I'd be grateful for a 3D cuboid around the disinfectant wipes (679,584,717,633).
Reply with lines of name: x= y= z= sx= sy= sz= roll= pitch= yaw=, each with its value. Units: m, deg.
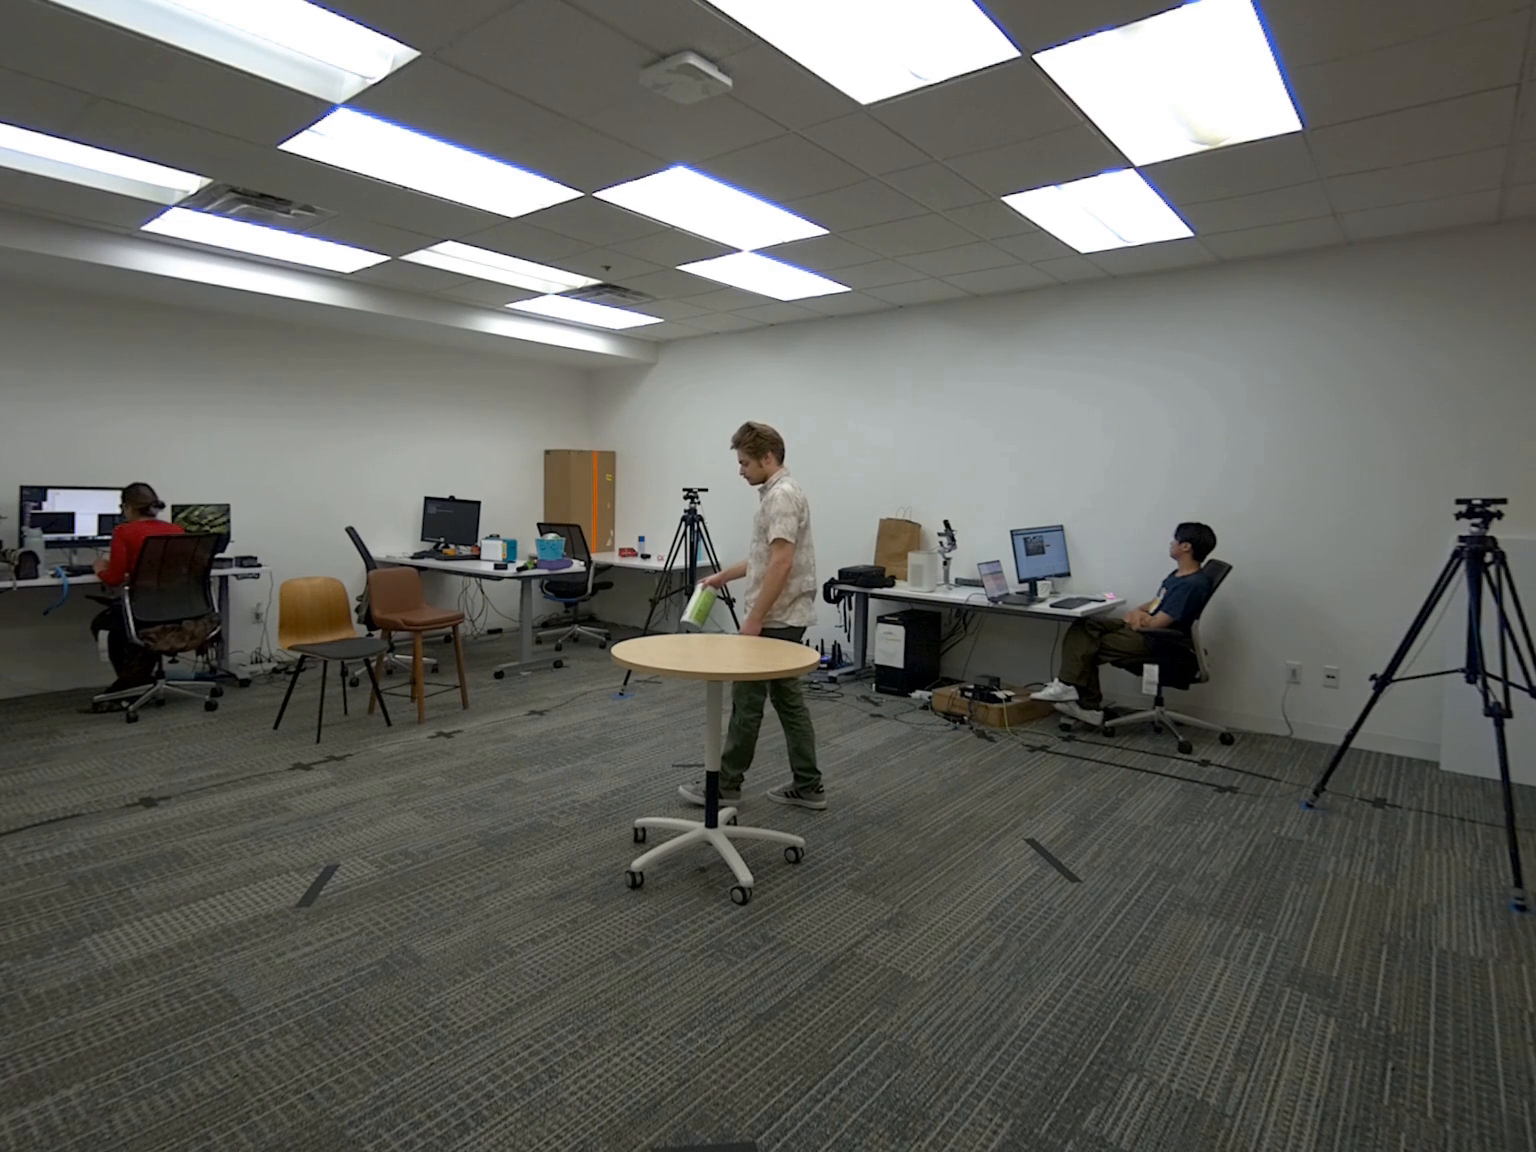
disinfectant wipes: x=-0.342 y=0.145 z=4.039 sx=0.119 sy=0.219 sz=0.115 roll=20 pitch=-22 yaw=7
